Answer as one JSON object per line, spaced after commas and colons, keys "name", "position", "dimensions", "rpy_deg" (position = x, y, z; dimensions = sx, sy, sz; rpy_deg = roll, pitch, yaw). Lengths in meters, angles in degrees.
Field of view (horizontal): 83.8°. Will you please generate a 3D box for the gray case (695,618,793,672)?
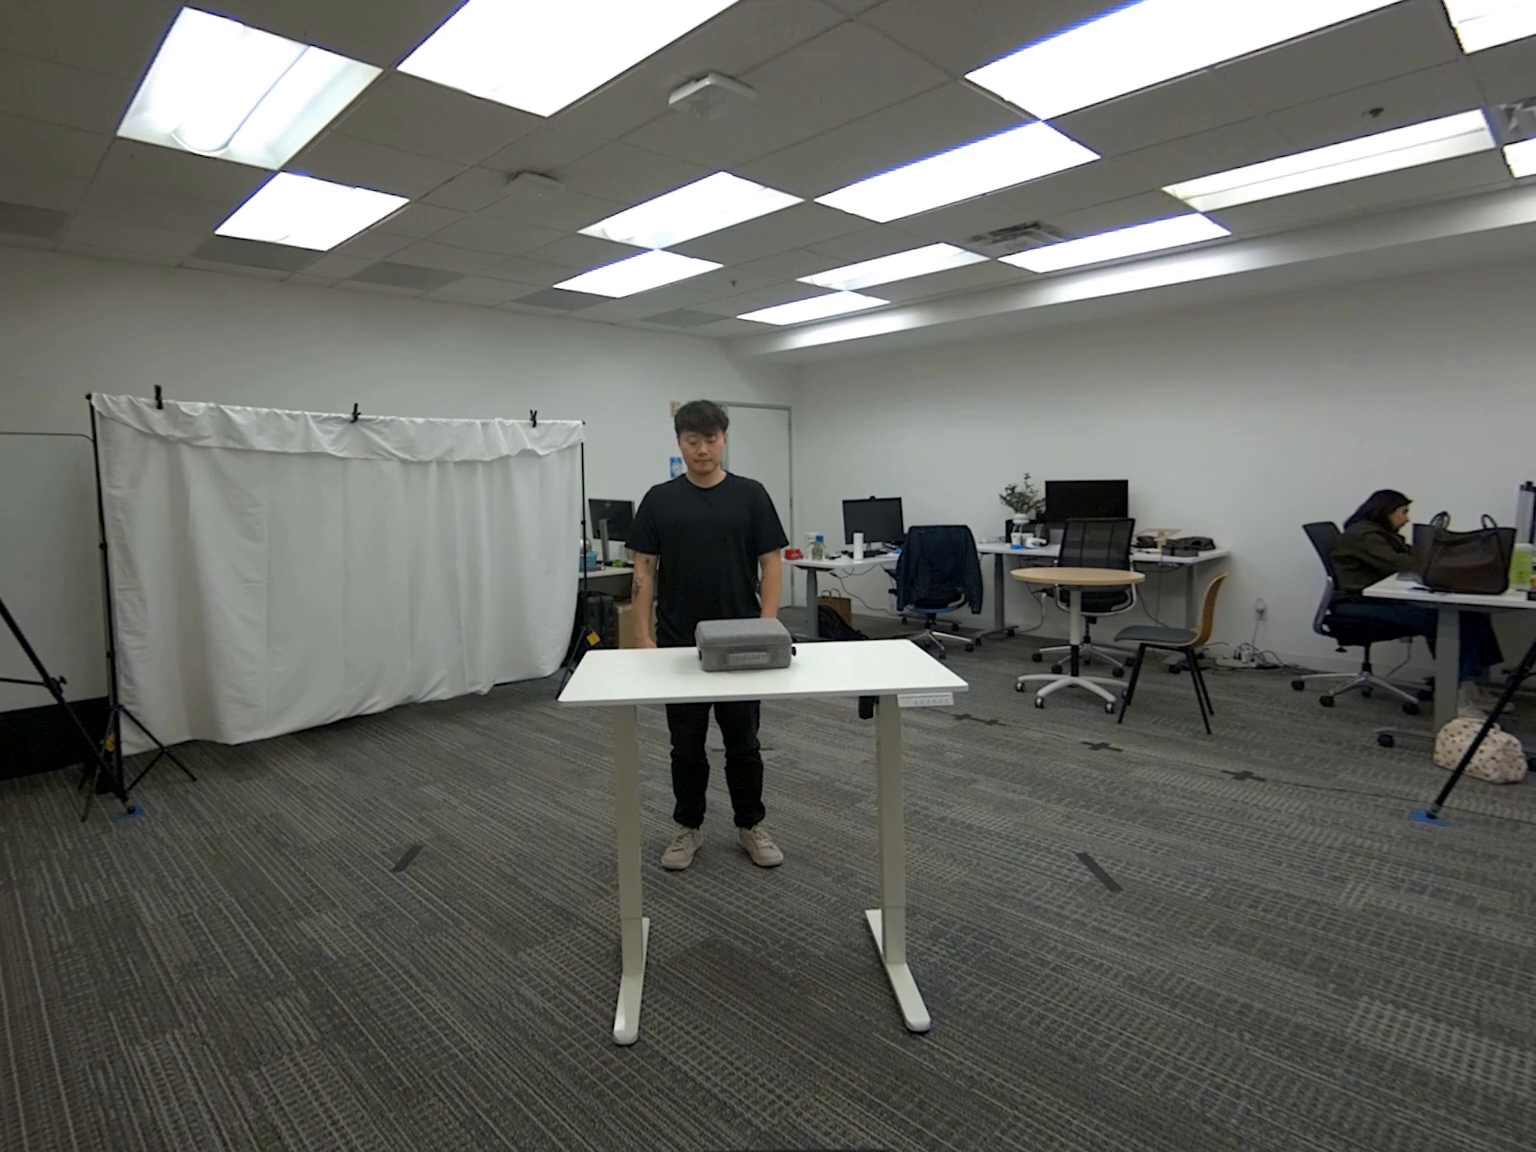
{"name": "gray case", "position": [-0.084, 0.193, 2.424], "dimensions": [0.255, 0.104, 0.264], "rpy_deg": [-1, 7, -8]}
